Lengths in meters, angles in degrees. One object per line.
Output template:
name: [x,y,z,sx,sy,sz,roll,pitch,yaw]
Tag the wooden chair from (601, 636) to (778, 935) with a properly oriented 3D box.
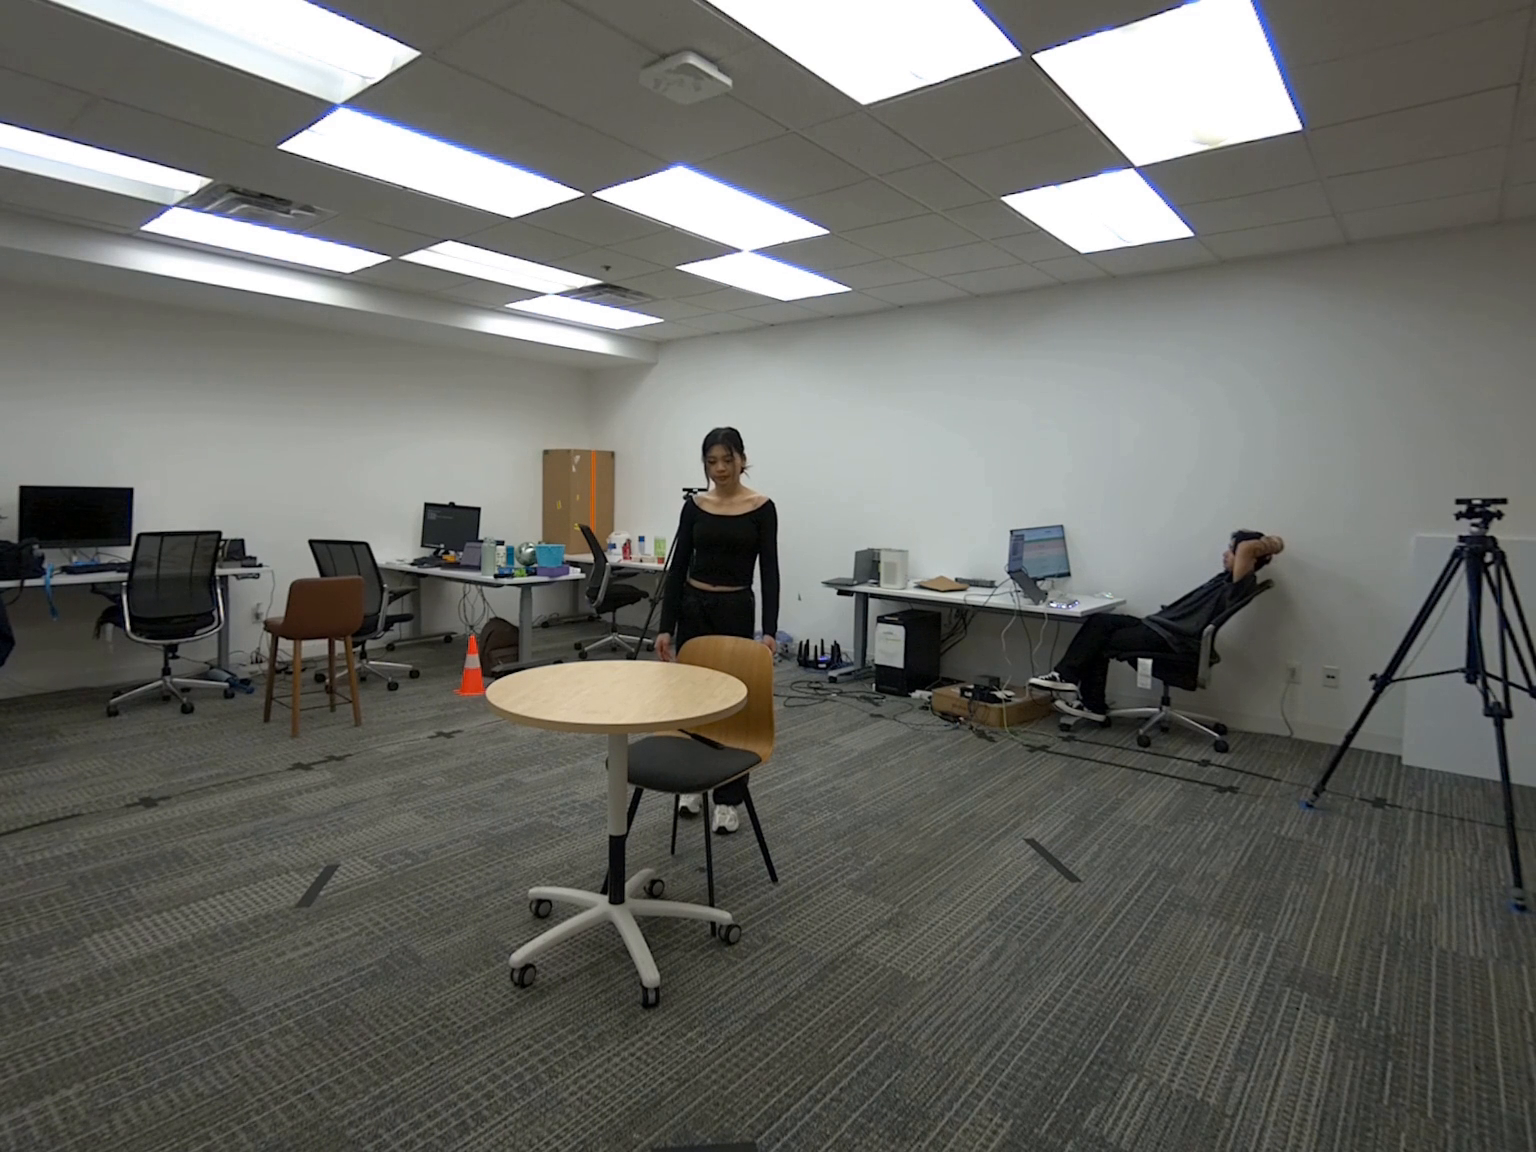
wooden chair: [-0.262,0.656,2.907,0.492,0.878,0.508,4,0,28]
